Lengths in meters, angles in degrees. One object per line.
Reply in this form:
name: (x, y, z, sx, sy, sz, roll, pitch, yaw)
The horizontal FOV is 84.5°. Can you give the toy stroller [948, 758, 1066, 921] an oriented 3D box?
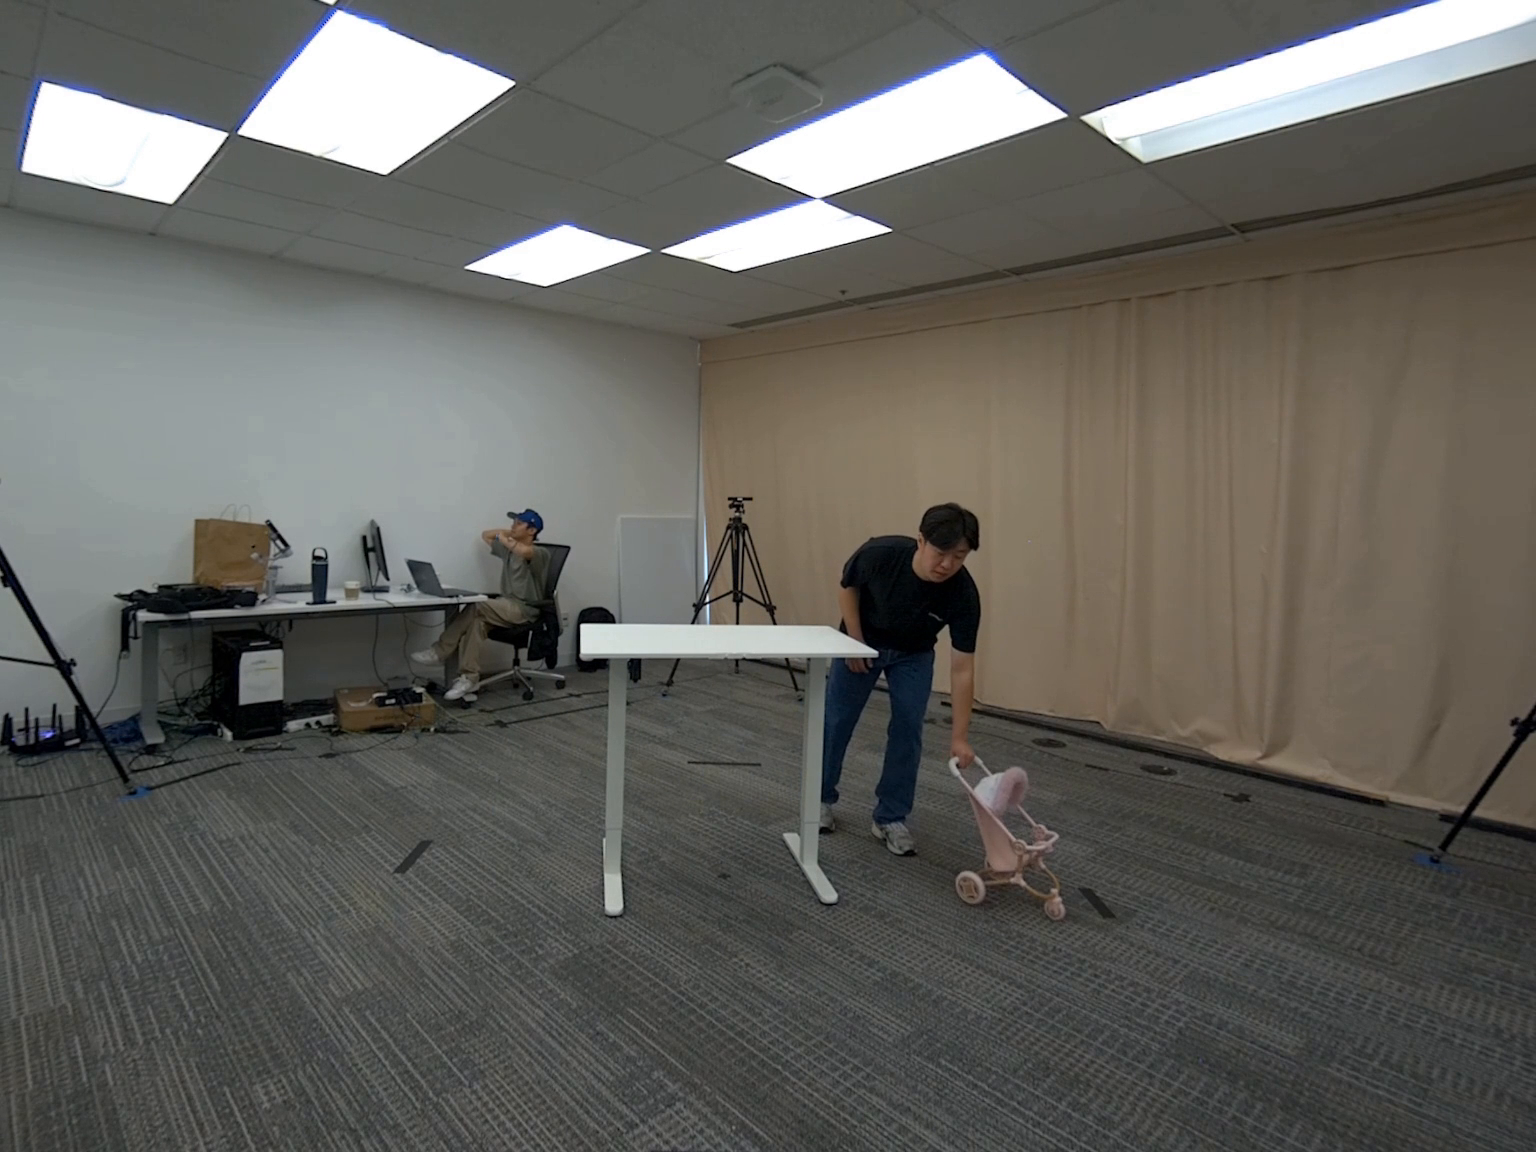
toy stroller: (0.870, 0.916, 2.947, 0.348, 0.537, 0.275, -9, -5, 38)
